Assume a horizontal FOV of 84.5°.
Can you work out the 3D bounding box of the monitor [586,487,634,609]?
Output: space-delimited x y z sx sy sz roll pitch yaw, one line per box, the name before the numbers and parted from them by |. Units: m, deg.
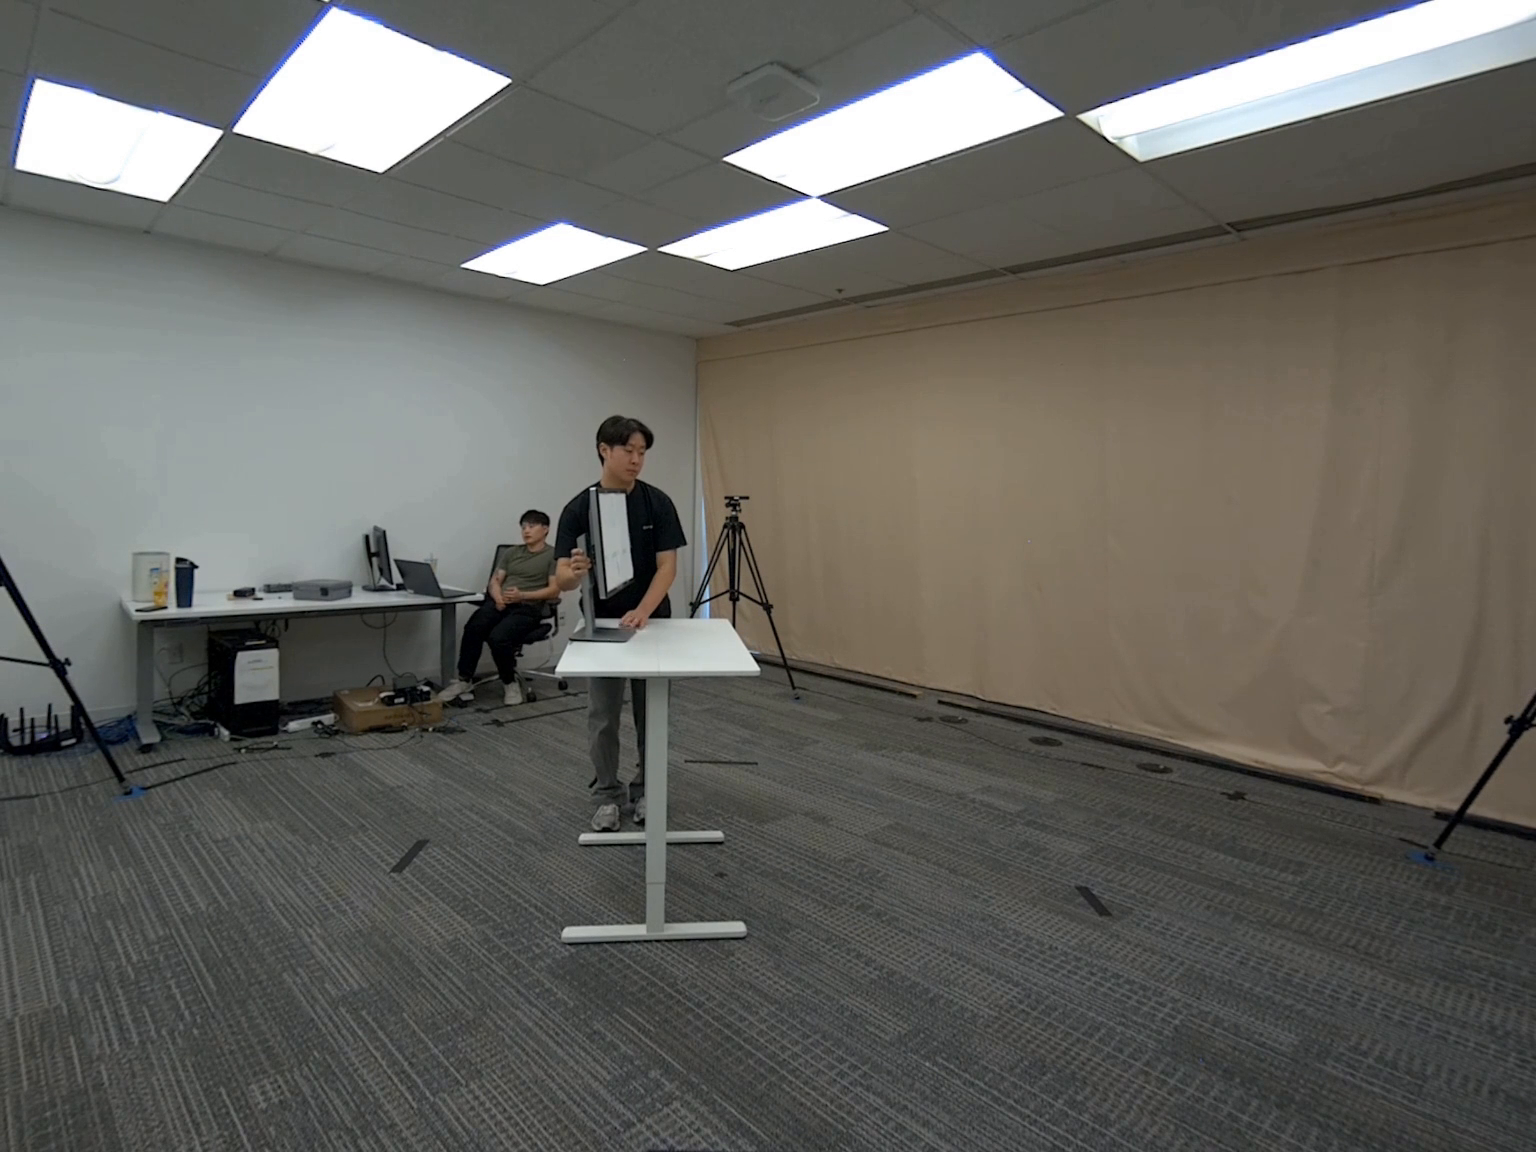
monitor | -0.597 -0.035 3.015 0.223 0.564 0.562 9 5 2
